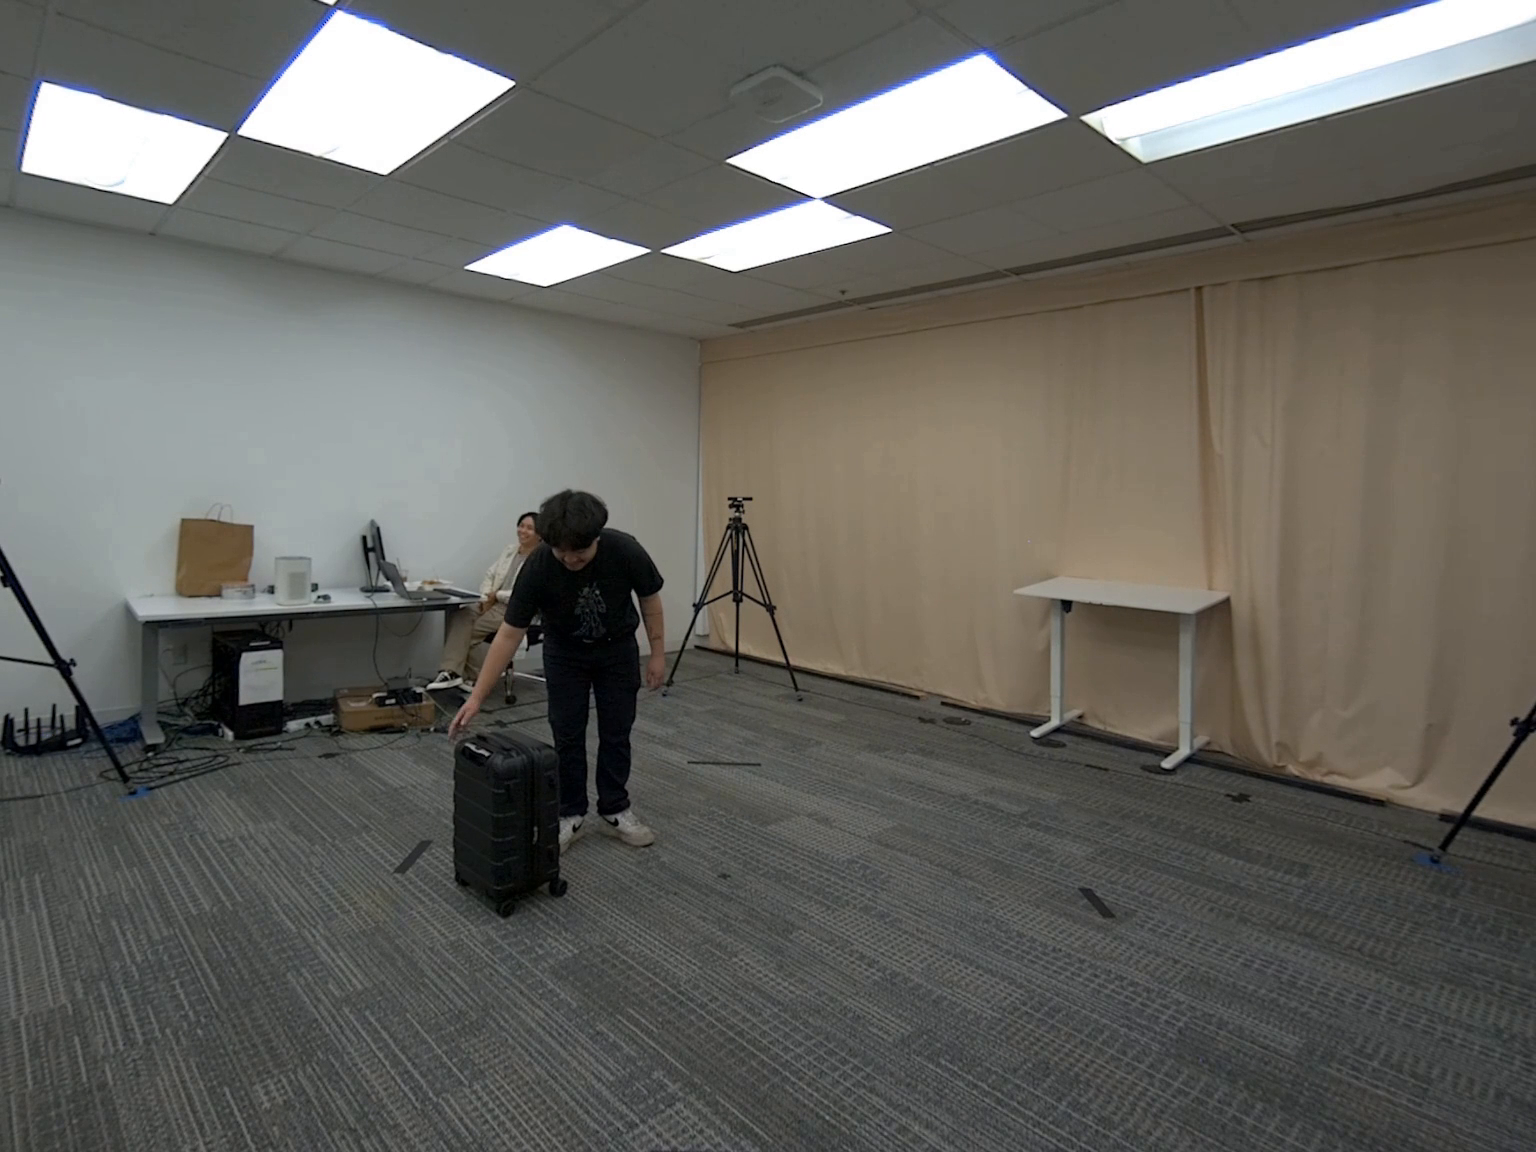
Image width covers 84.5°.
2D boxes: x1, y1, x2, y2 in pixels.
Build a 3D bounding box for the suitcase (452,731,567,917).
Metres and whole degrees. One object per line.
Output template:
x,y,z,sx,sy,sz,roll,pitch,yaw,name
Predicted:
-0.927,0.832,2.931,0.243,0.547,0.385,-5,6,-43,suitcase
